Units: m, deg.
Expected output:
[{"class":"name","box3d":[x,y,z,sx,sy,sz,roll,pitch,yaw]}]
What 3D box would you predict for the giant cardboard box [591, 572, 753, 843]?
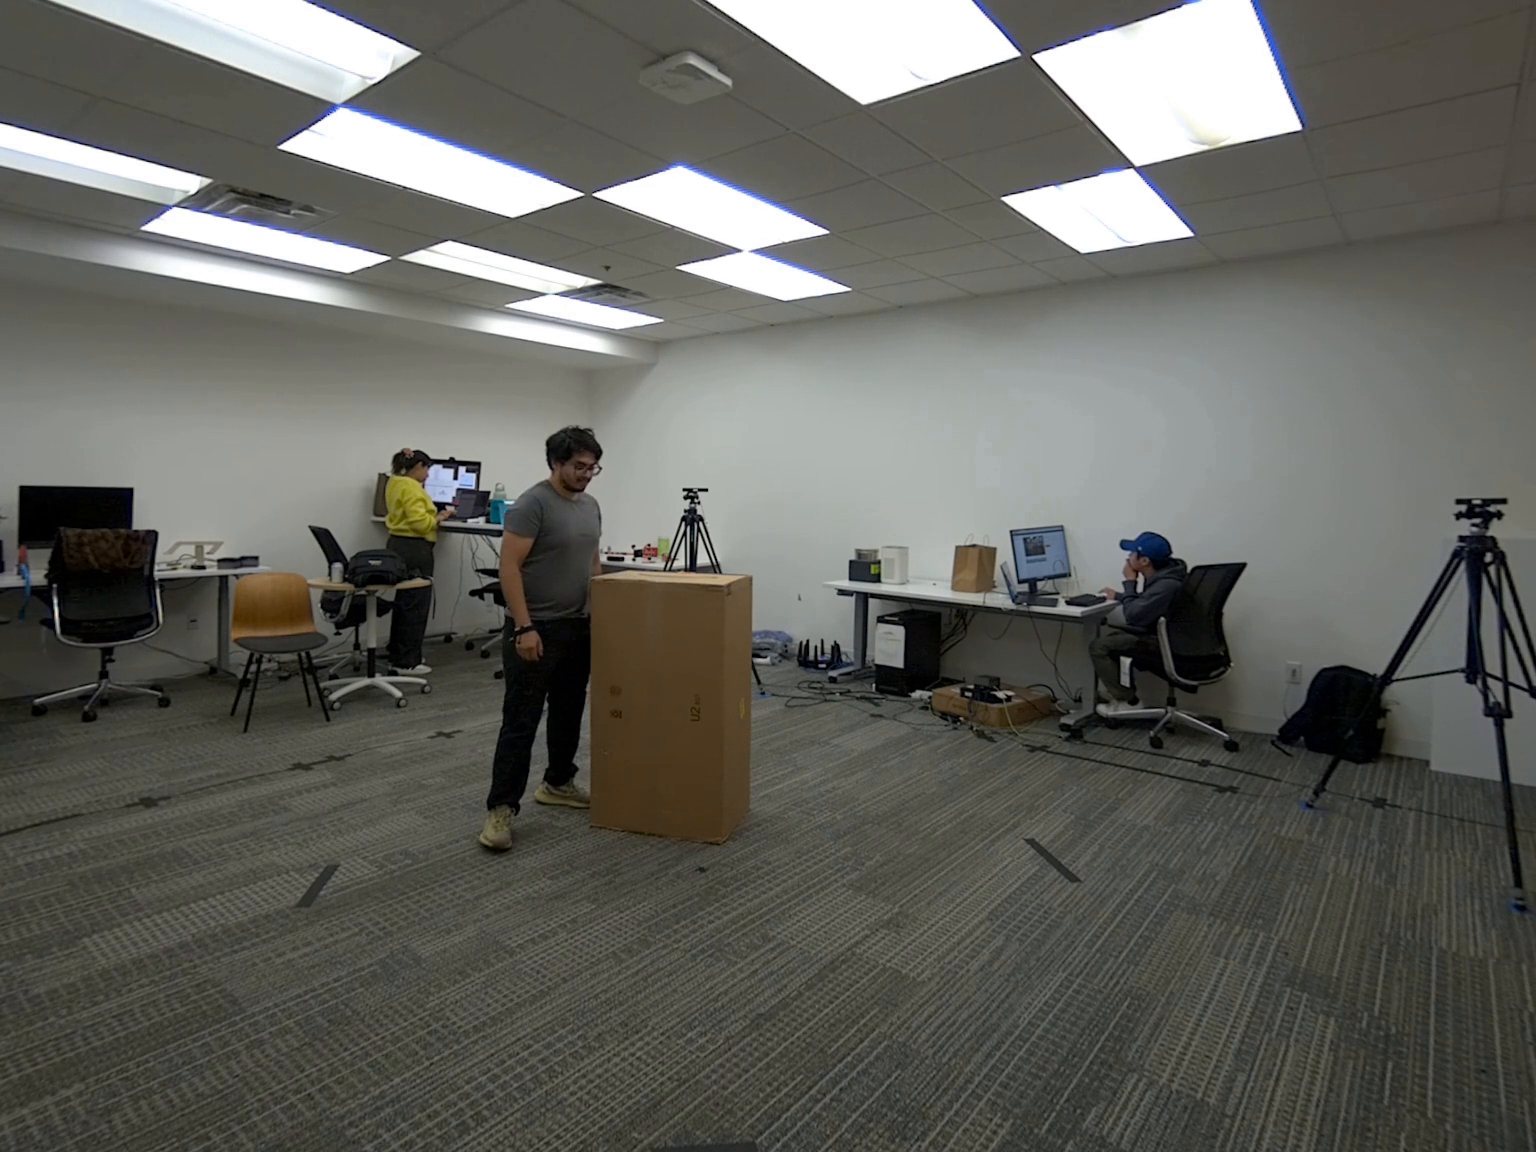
[{"class":"giant cardboard box","box3d":[-0.406,0.514,3.583,0.594,1.024,0.440,2,3,16]}]
